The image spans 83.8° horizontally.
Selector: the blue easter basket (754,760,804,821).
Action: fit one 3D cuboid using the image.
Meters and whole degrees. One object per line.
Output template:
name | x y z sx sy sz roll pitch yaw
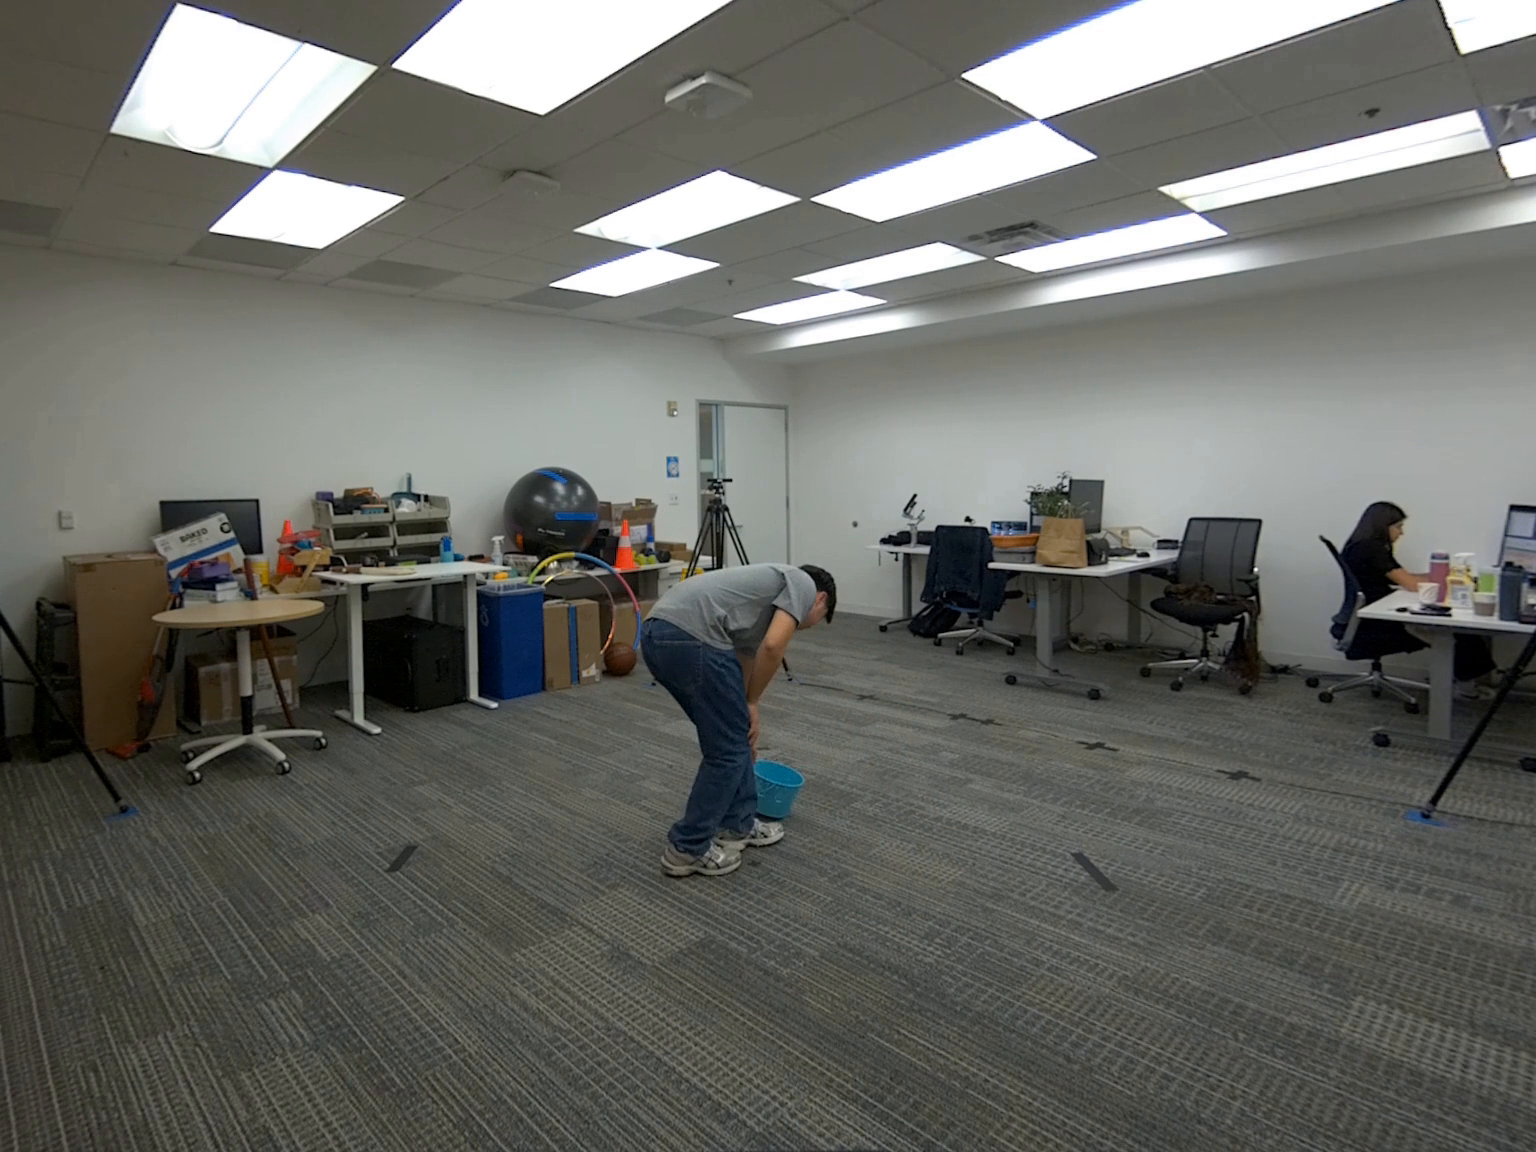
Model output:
blue easter basket | 0.019 0.894 3.557 0.243 0.155 0.246 15 8 -4
